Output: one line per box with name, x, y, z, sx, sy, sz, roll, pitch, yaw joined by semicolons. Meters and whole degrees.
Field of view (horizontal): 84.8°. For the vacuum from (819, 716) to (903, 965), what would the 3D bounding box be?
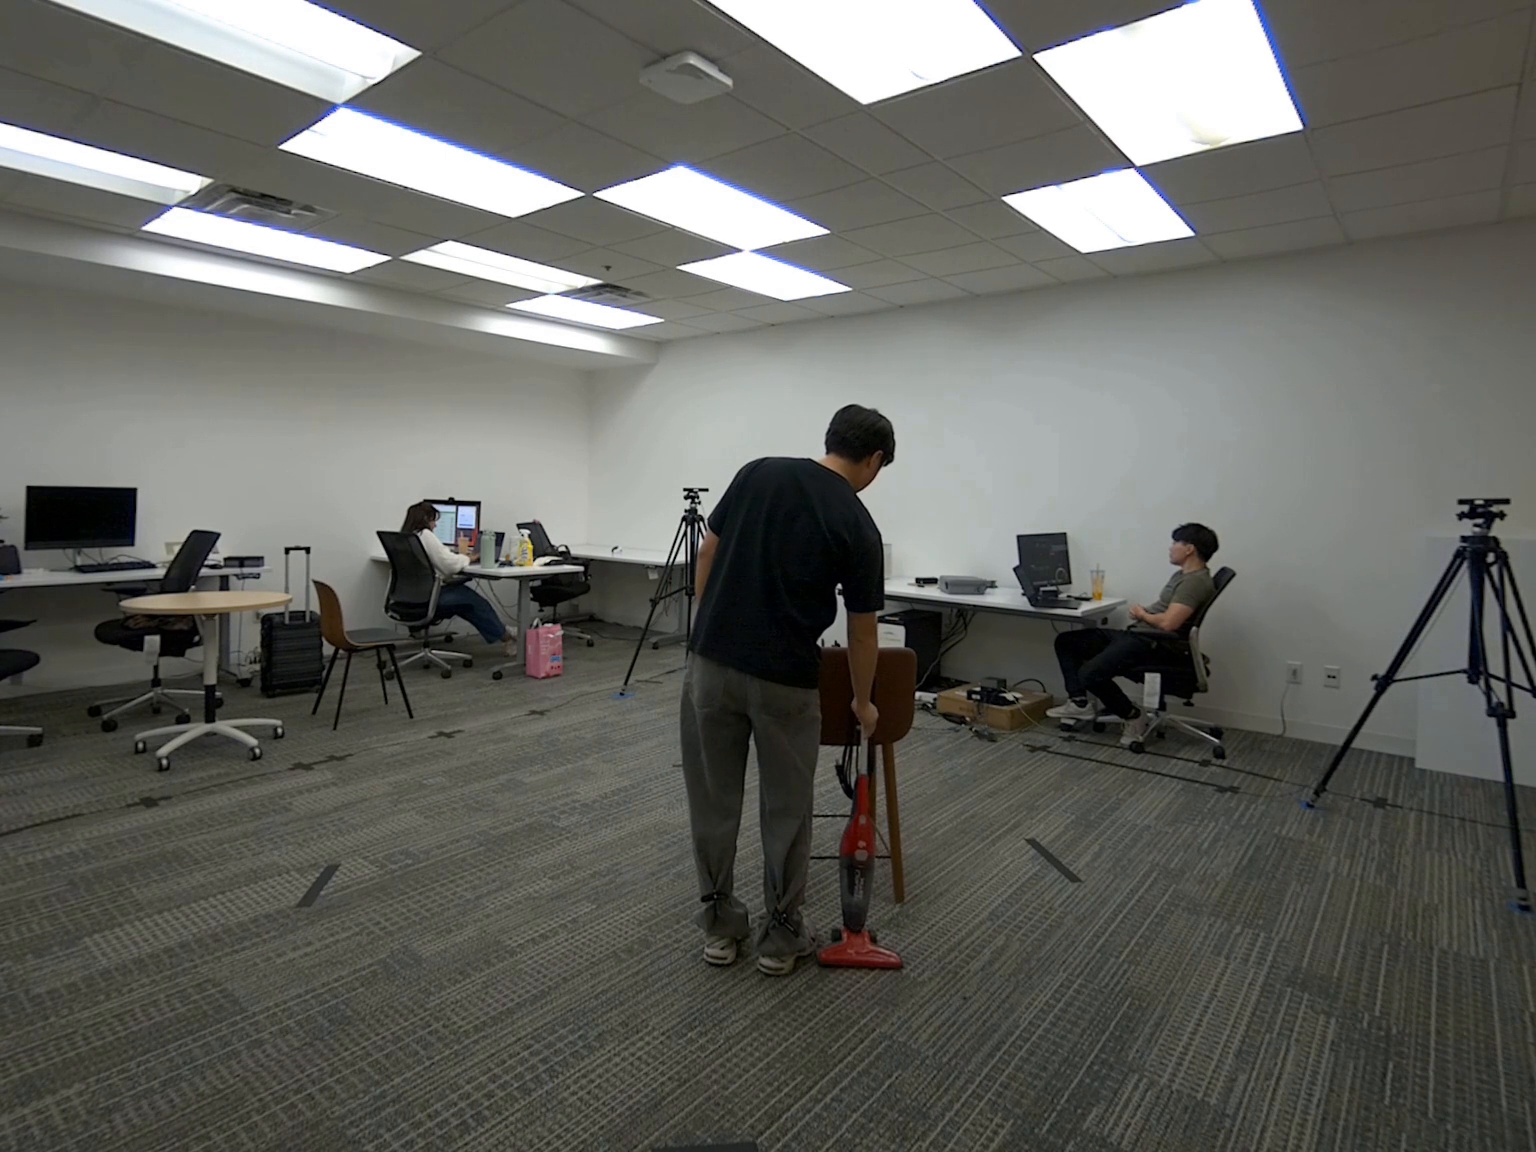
vacuum;0.295;0.619;2.683;0.249;1.063;0.144;8;-15;-12
